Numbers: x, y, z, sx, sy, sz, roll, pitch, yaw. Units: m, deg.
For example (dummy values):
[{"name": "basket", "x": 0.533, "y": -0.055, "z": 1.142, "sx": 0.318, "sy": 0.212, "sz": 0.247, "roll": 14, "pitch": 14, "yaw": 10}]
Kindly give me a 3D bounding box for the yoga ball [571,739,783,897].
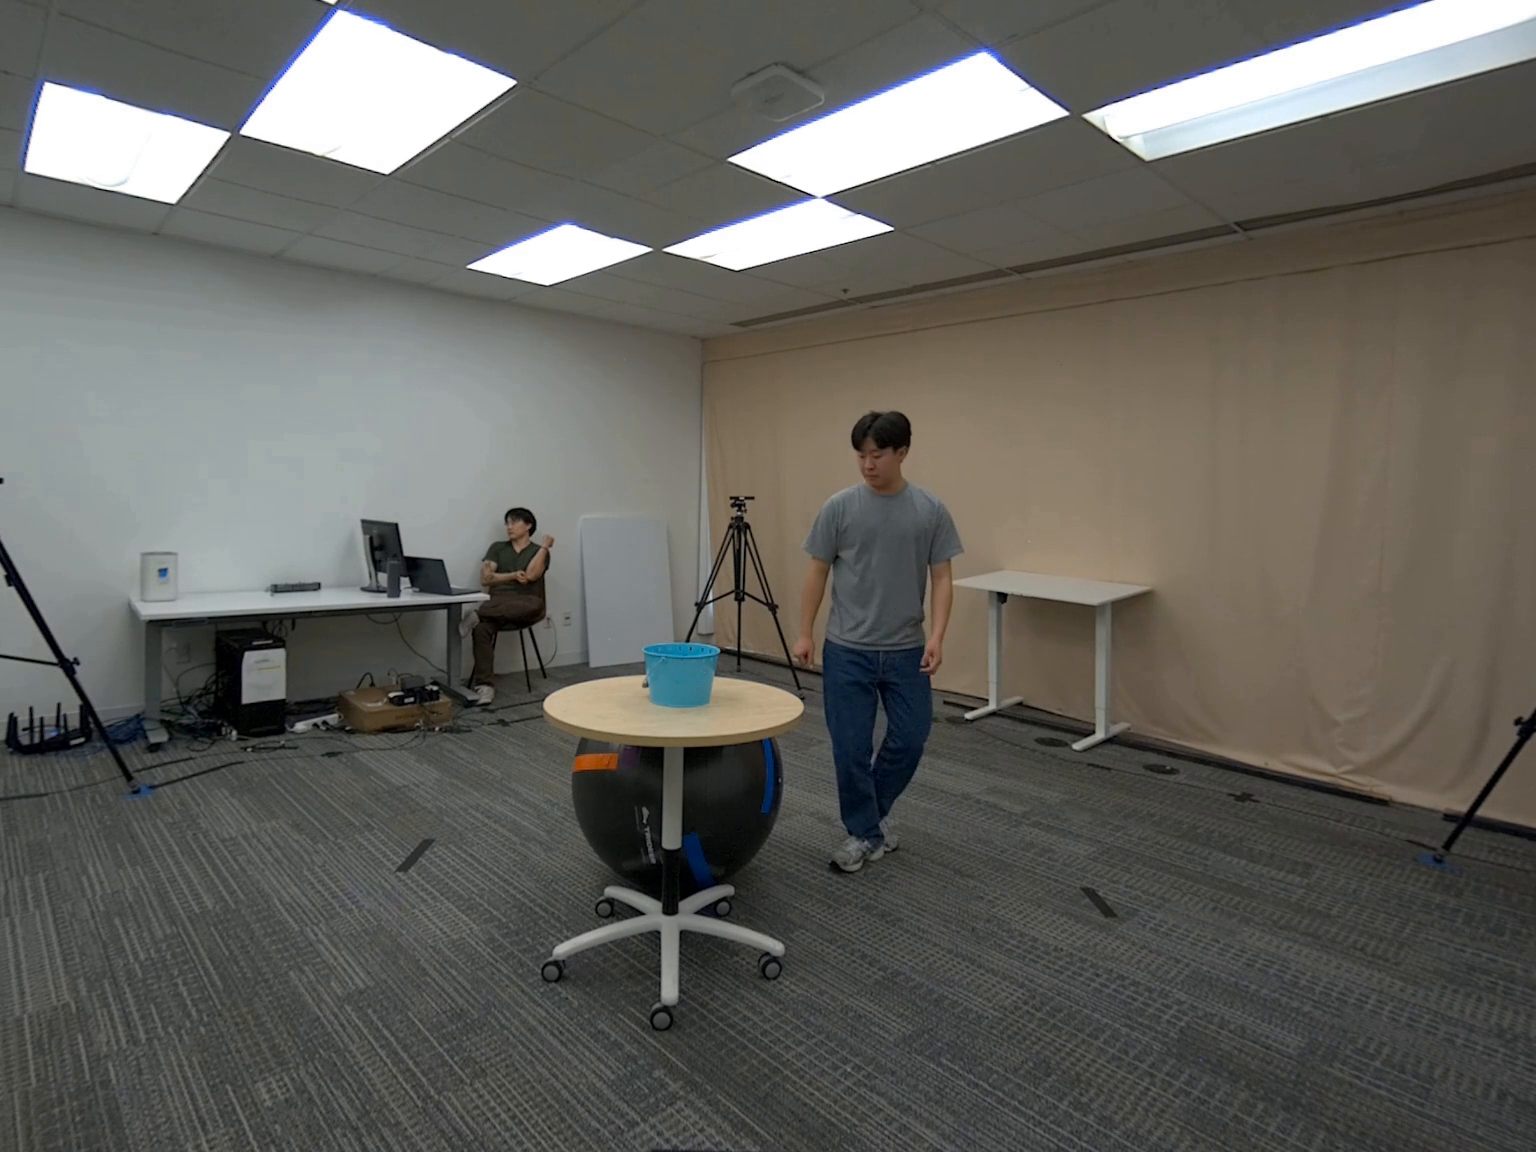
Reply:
[{"name": "yoga ball", "x": -0.337, "y": 0.735, "z": 3.032, "sx": 0.757, "sy": 0.756, "sz": 0.761, "roll": 1, "pitch": 4, "yaw": -1}]
